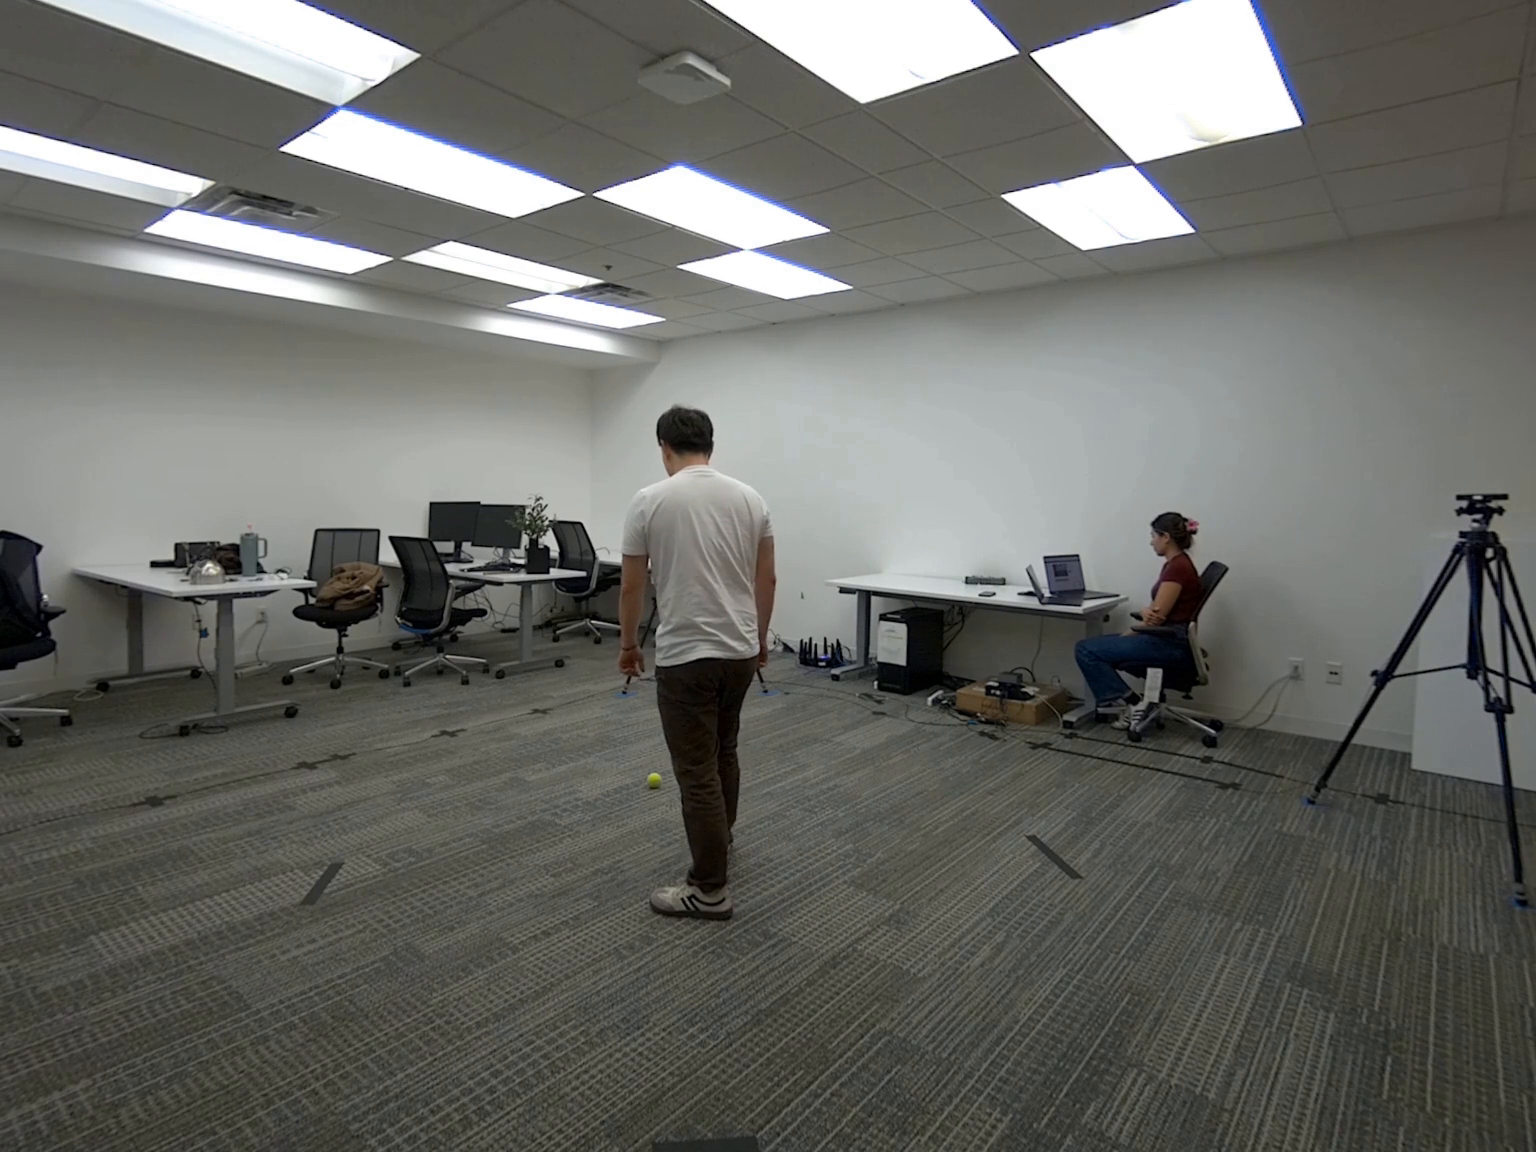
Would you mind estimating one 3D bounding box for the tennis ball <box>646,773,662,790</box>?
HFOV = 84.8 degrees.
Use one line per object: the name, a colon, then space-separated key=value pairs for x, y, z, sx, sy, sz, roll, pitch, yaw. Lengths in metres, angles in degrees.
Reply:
tennis ball: x=-0.541 y=0.936 z=3.950 sx=0.066 sy=0.066 sz=0.067 roll=1 pitch=4 yaw=-2
